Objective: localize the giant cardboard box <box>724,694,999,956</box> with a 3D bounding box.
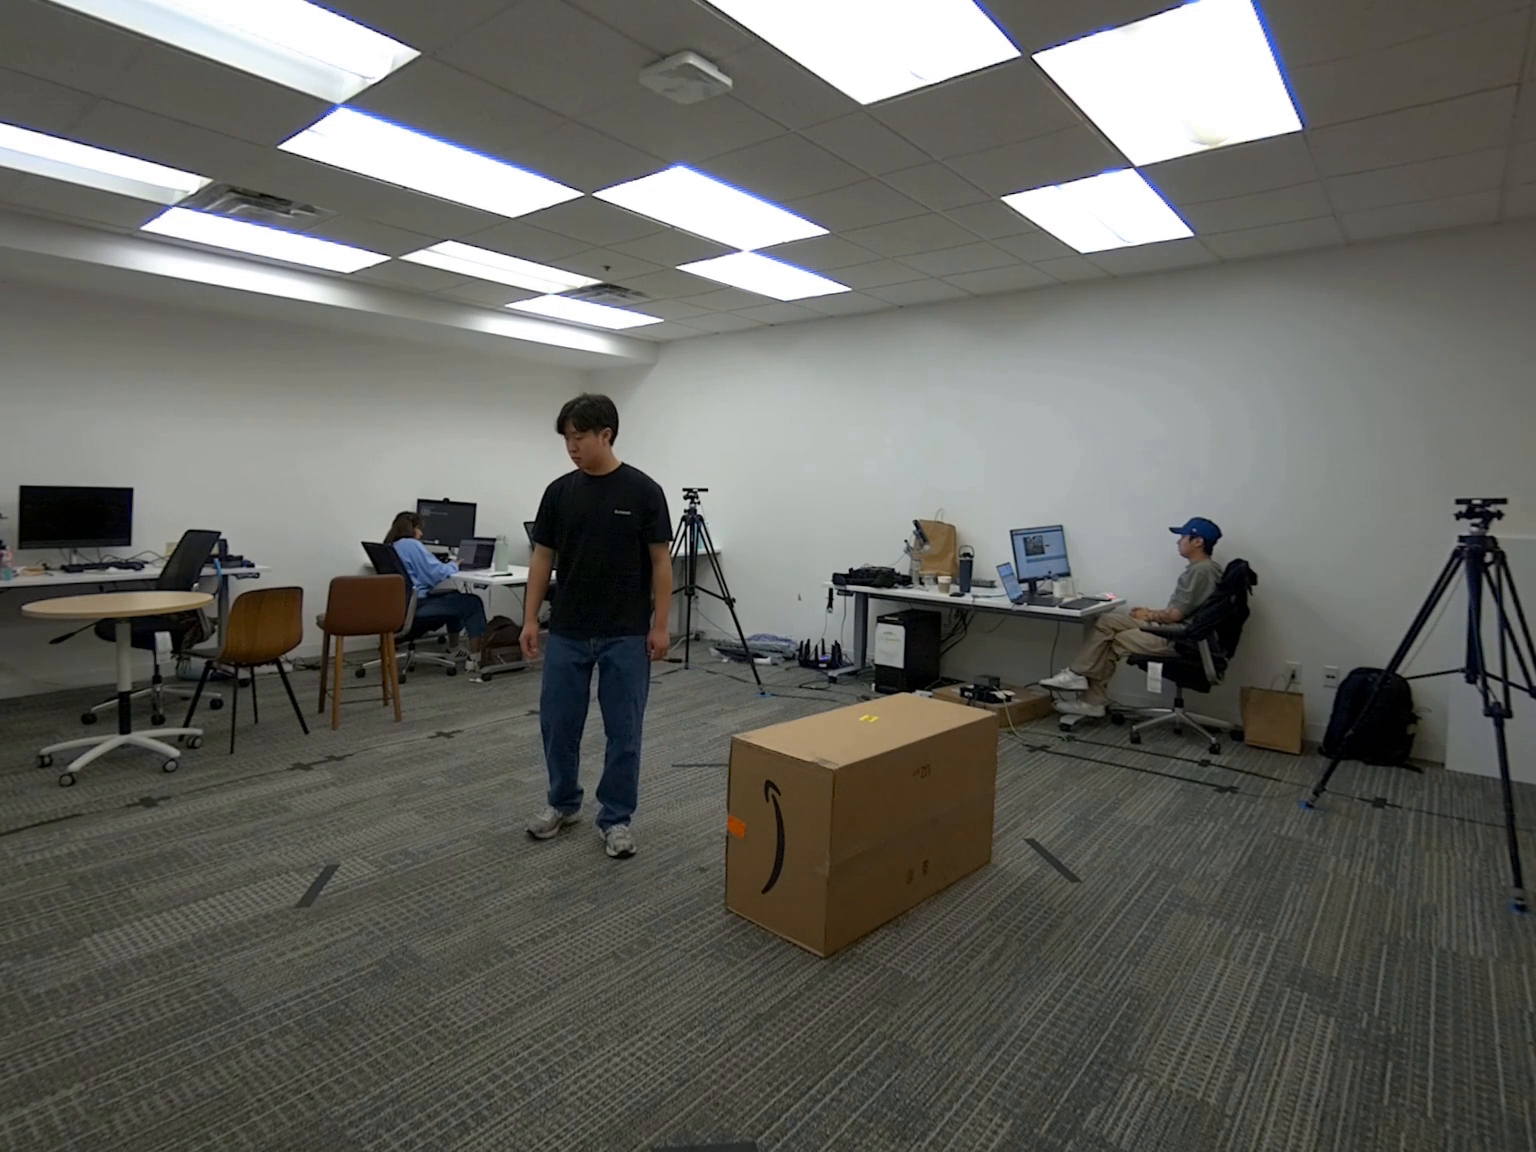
[{"bbox_3d":[0.355,0.806,3.010,0.462,0.582,0.996,4,5,43],"label":"giant cardboard box"}]
